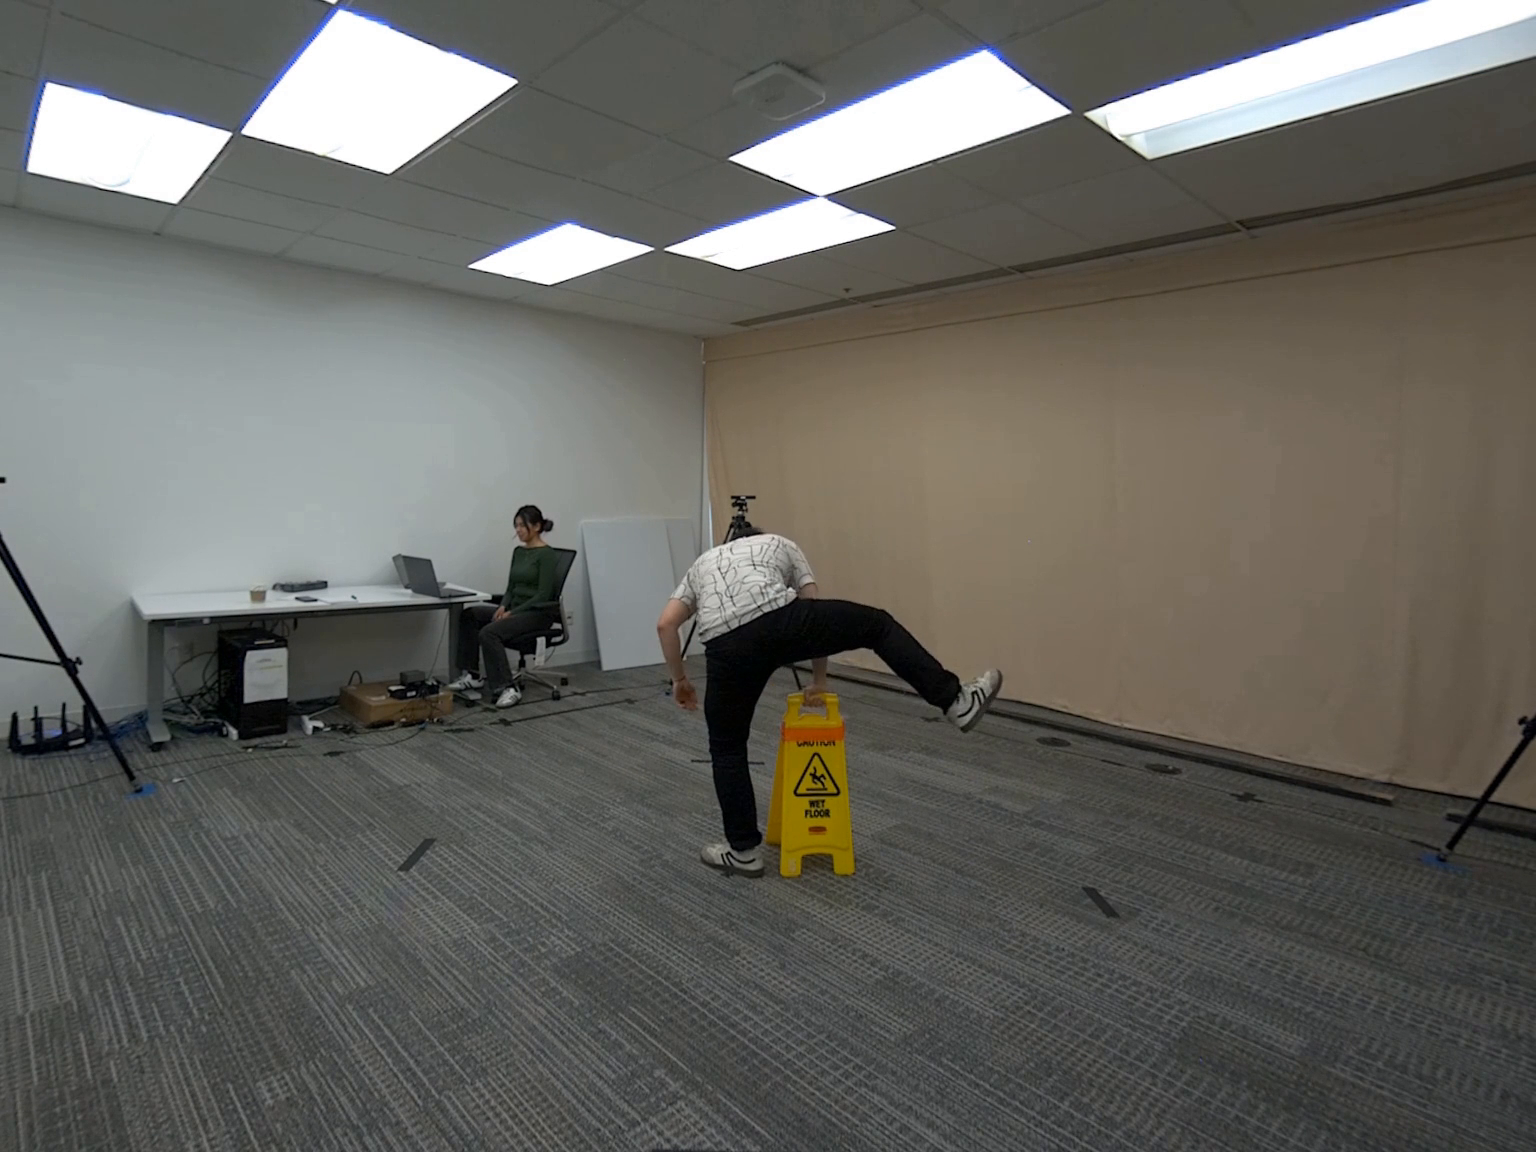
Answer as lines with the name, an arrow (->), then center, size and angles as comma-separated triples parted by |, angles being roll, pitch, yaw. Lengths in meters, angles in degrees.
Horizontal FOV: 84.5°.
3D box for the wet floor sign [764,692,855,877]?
wet floor sign -> 0.158, 0.771, 3.248 | 0.280, 0.645, 0.292 | 1, 3, -9
